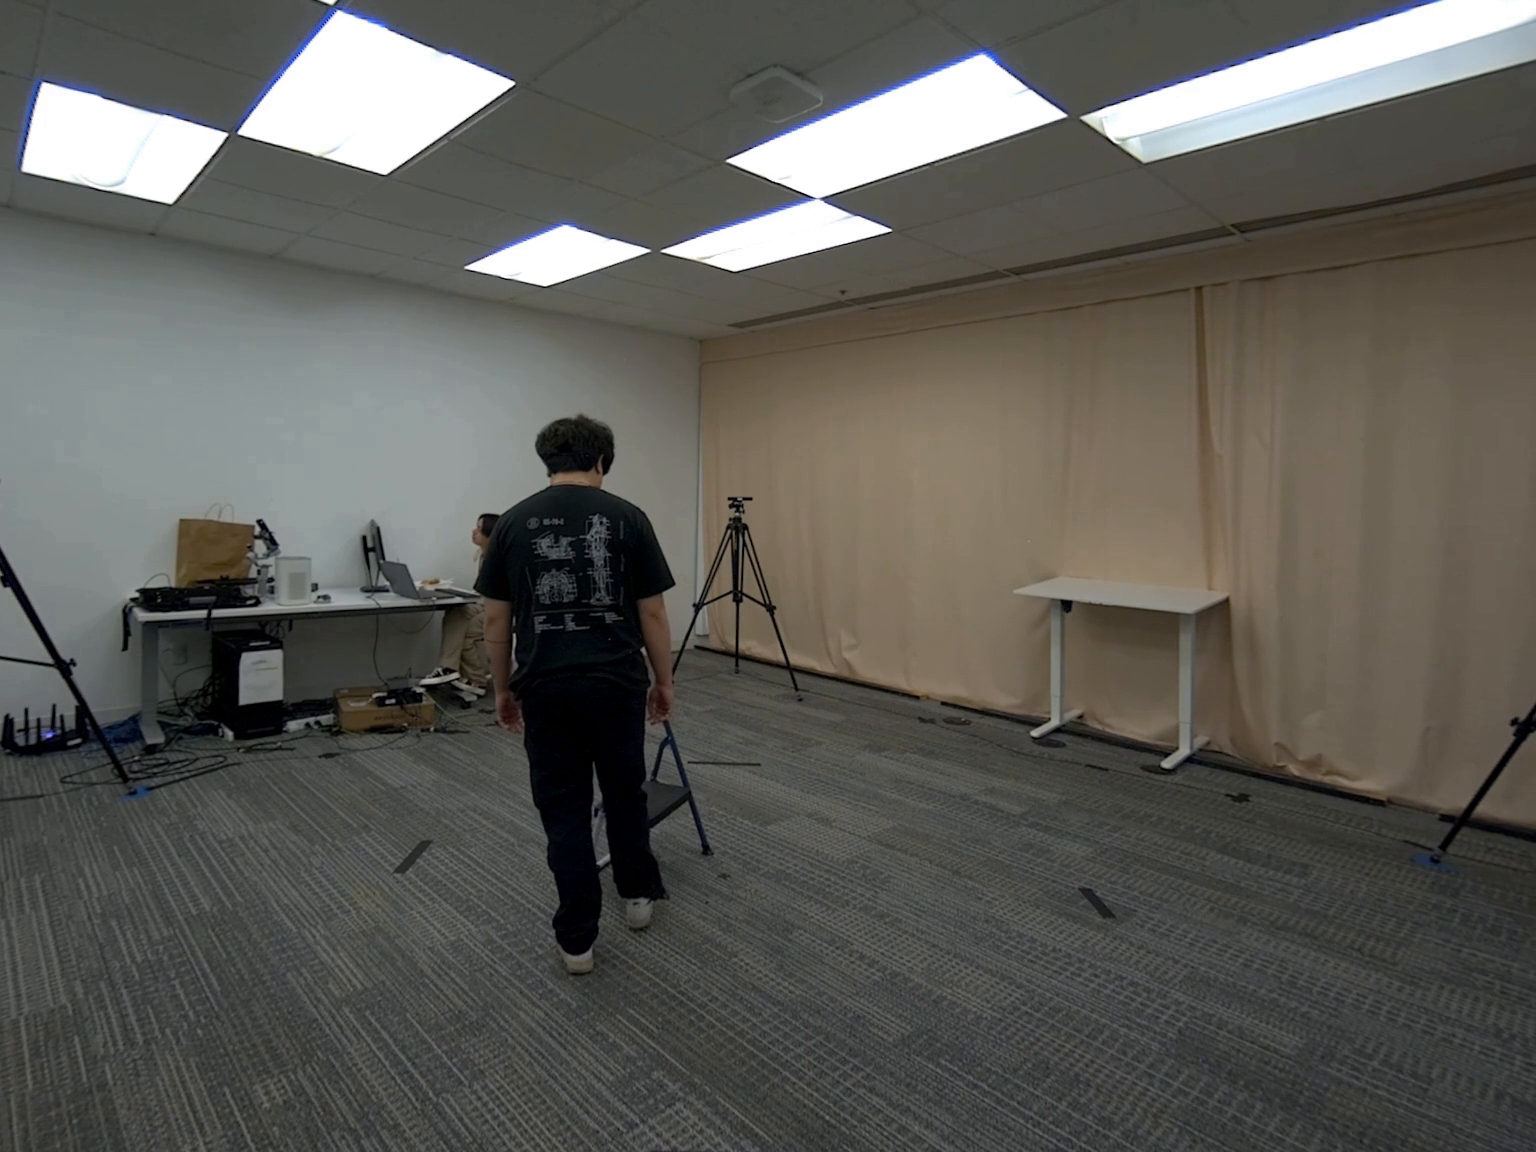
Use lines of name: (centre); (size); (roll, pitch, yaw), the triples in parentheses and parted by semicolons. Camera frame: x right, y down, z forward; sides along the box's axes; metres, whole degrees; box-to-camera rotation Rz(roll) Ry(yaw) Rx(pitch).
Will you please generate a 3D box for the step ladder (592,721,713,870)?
step ladder: (-0.443, 0.797, 3.155); (0.355, 0.604, 0.425); (3, 4, 20)
